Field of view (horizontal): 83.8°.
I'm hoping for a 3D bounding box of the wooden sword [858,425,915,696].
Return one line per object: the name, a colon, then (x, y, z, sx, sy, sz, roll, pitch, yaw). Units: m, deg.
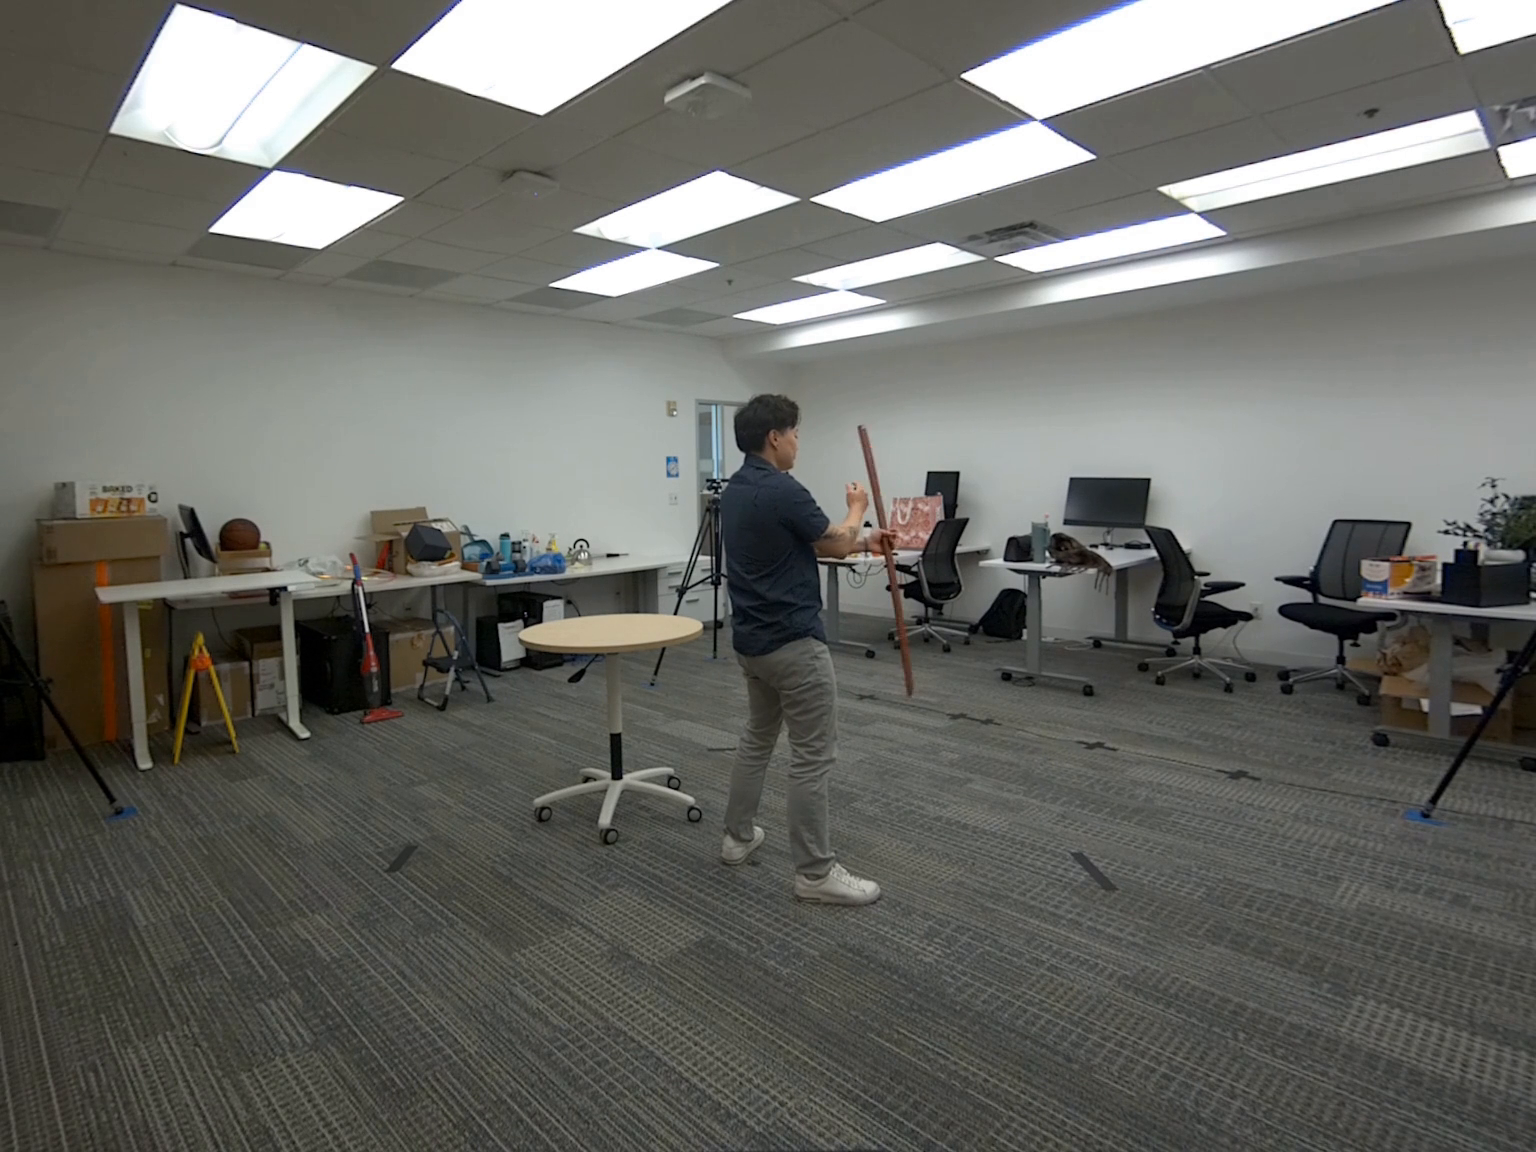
wooden sword: (0.439, -0.098, 3.123, 0.052, 1.043, 0.023, -16, -20, 26)
